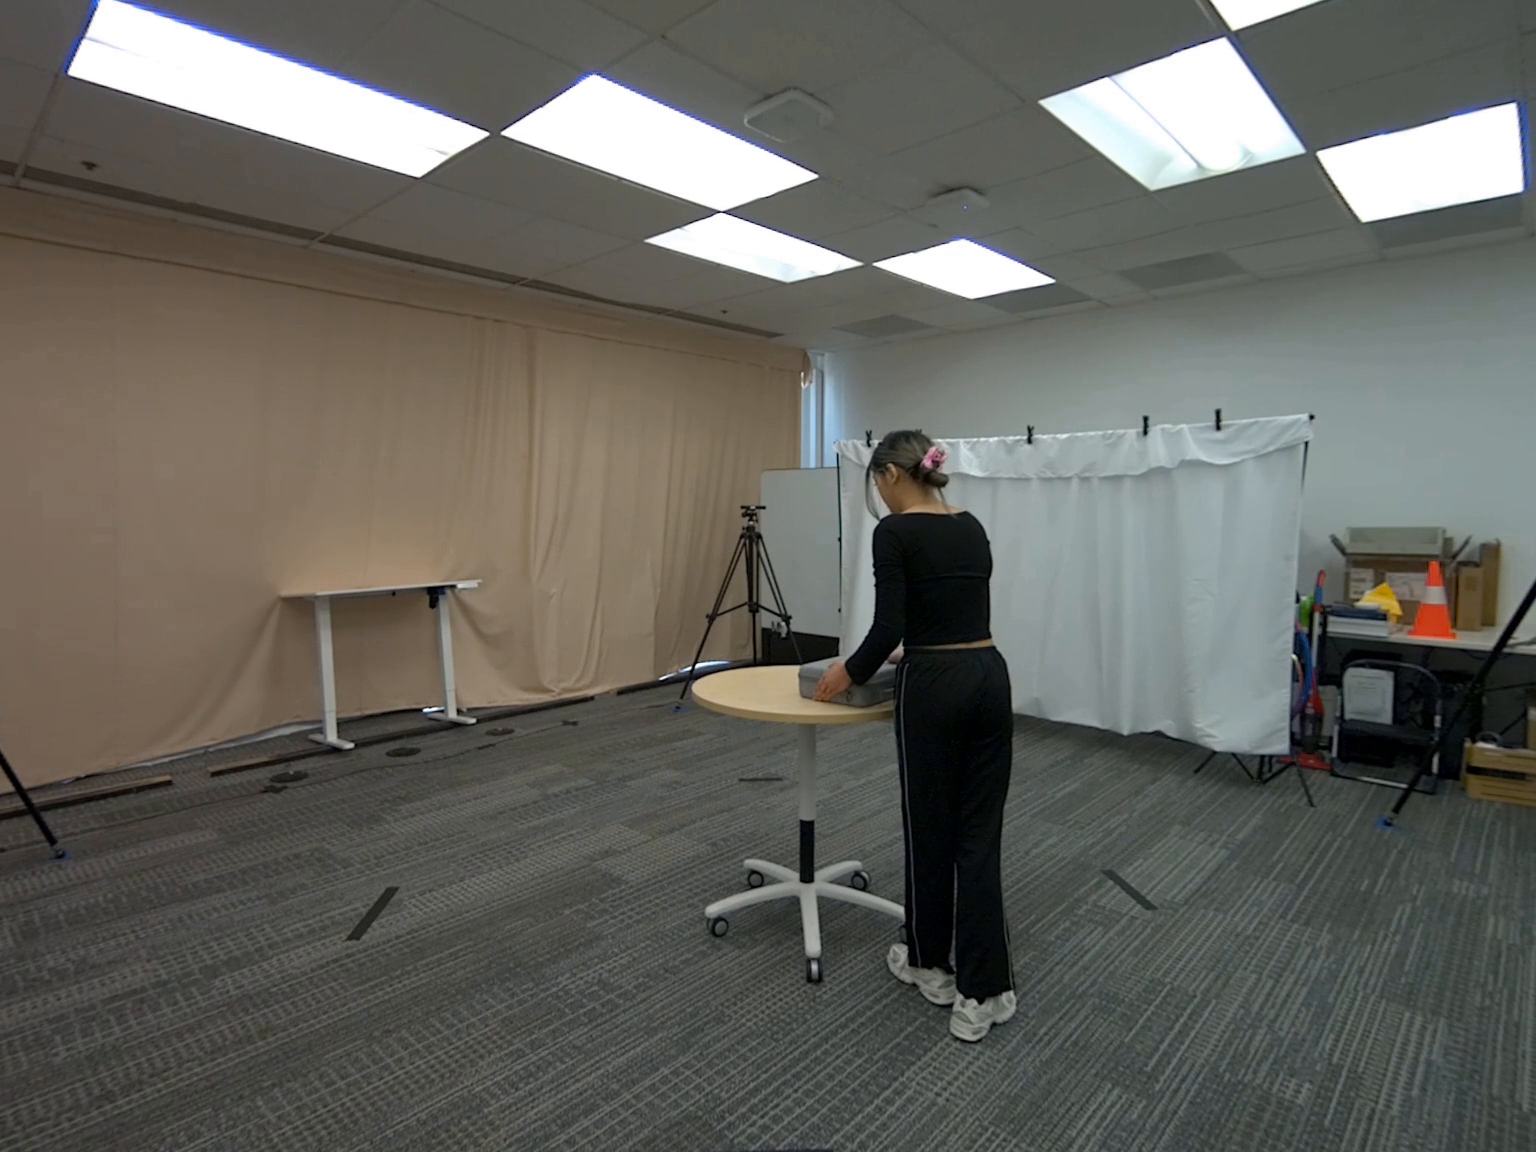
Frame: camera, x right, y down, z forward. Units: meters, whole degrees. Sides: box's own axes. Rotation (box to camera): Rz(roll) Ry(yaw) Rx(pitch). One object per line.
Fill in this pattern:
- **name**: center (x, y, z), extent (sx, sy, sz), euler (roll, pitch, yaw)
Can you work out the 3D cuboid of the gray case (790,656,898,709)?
- **gray case**: center (0.245, 0.323, 2.631), extent (0.268, 0.104, 0.249), euler (1, 2, 32)
